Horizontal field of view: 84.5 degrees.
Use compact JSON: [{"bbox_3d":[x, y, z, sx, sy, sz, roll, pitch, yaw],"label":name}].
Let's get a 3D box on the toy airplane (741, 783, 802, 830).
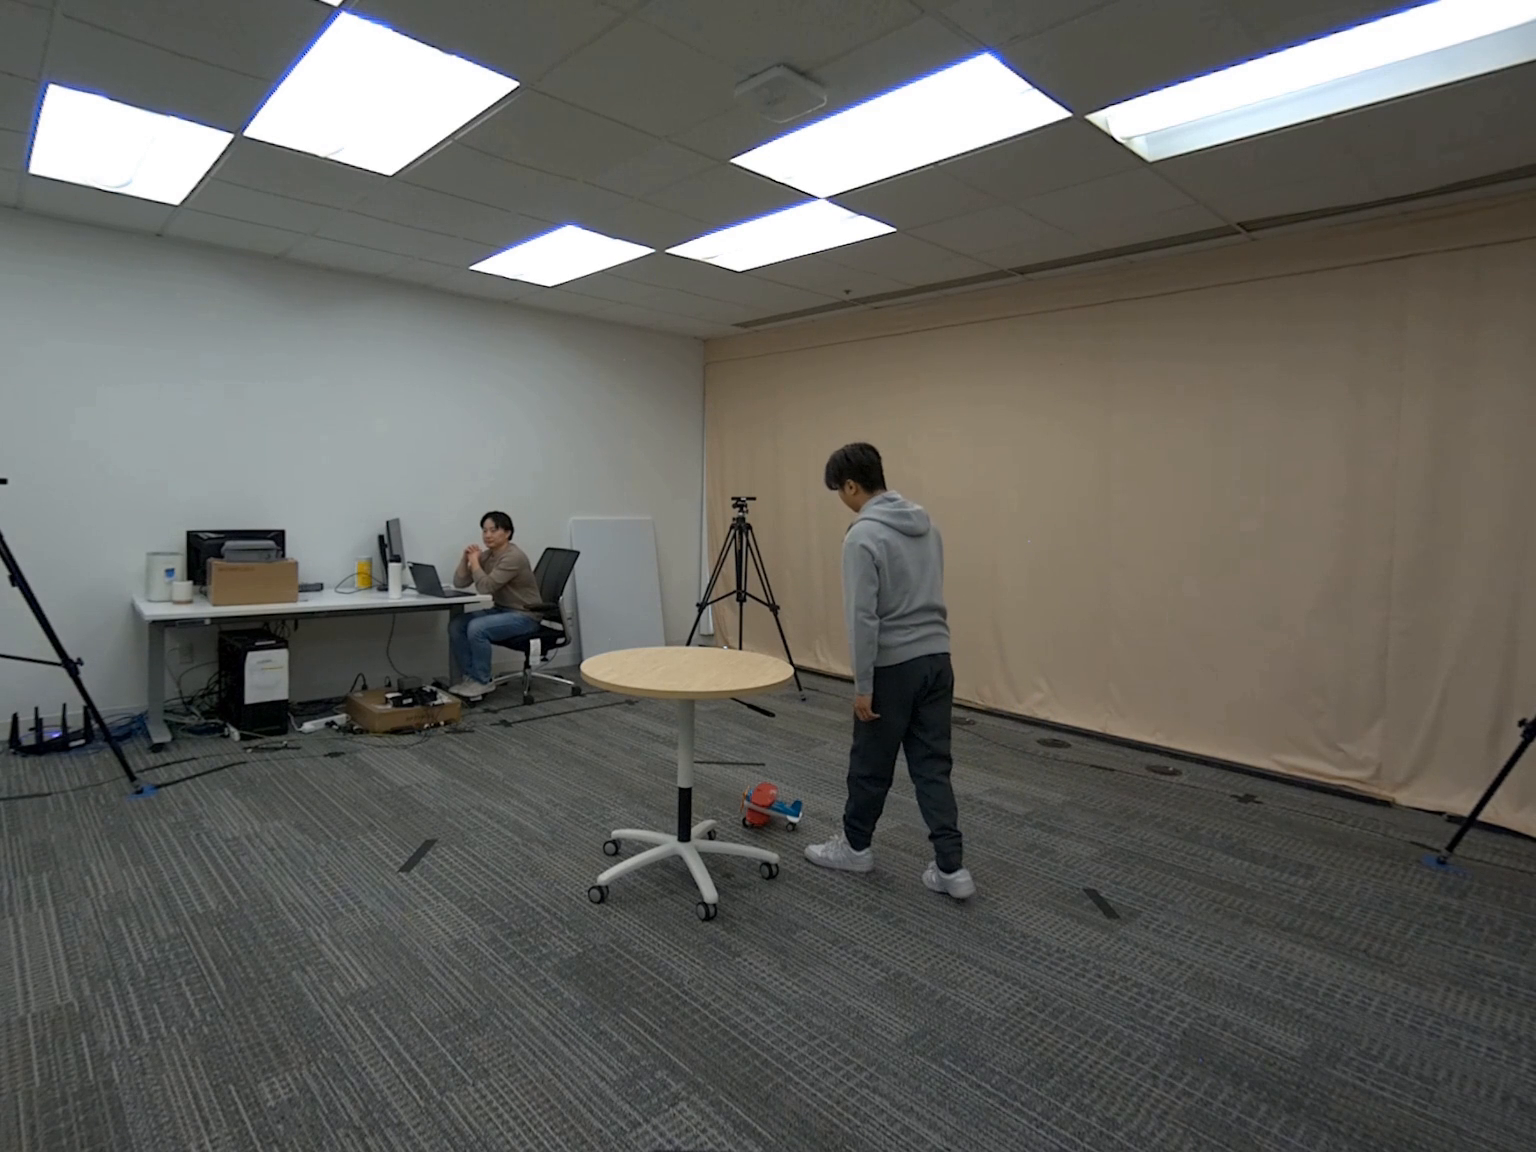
[{"bbox_3d":[0.006,0.993,3.602,0.256,0.156,0.254,0,4,-14],"label":"toy airplane"}]
